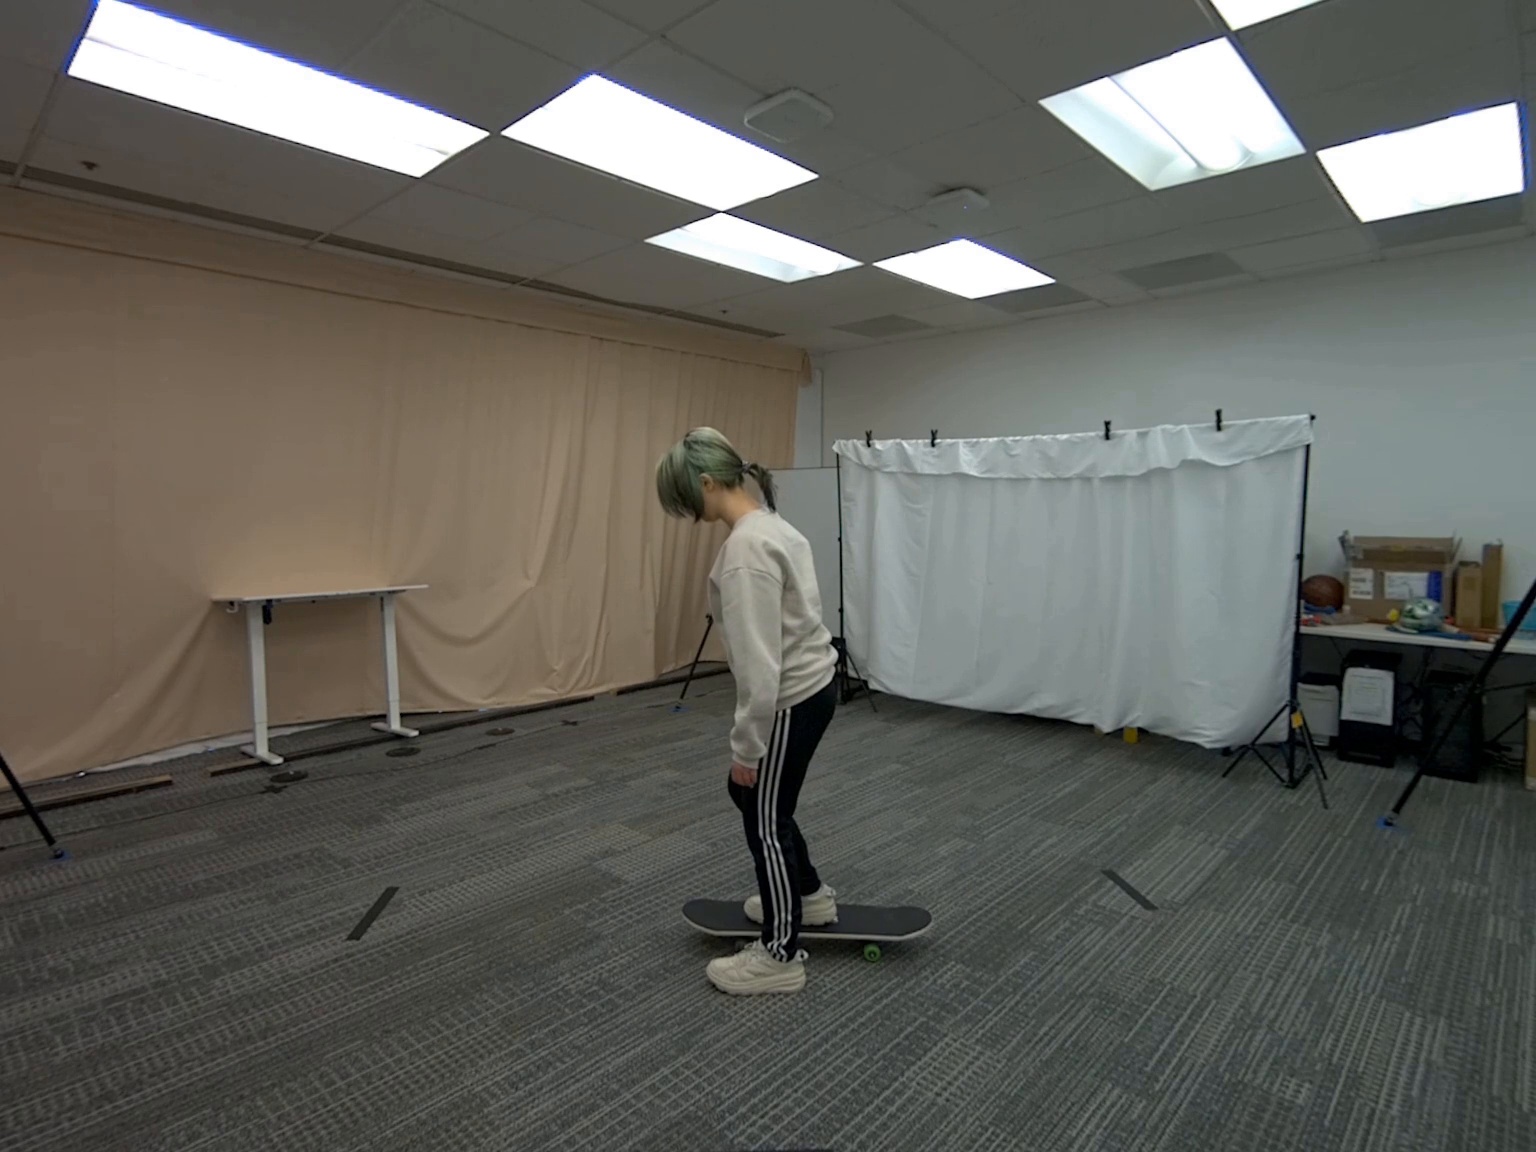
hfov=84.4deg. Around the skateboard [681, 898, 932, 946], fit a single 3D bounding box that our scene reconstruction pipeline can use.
[{"bbox_3d":[0.117,1.111,2.659,0.788,0.110,0.193,0,5,3],"label":"skateboard"}]
